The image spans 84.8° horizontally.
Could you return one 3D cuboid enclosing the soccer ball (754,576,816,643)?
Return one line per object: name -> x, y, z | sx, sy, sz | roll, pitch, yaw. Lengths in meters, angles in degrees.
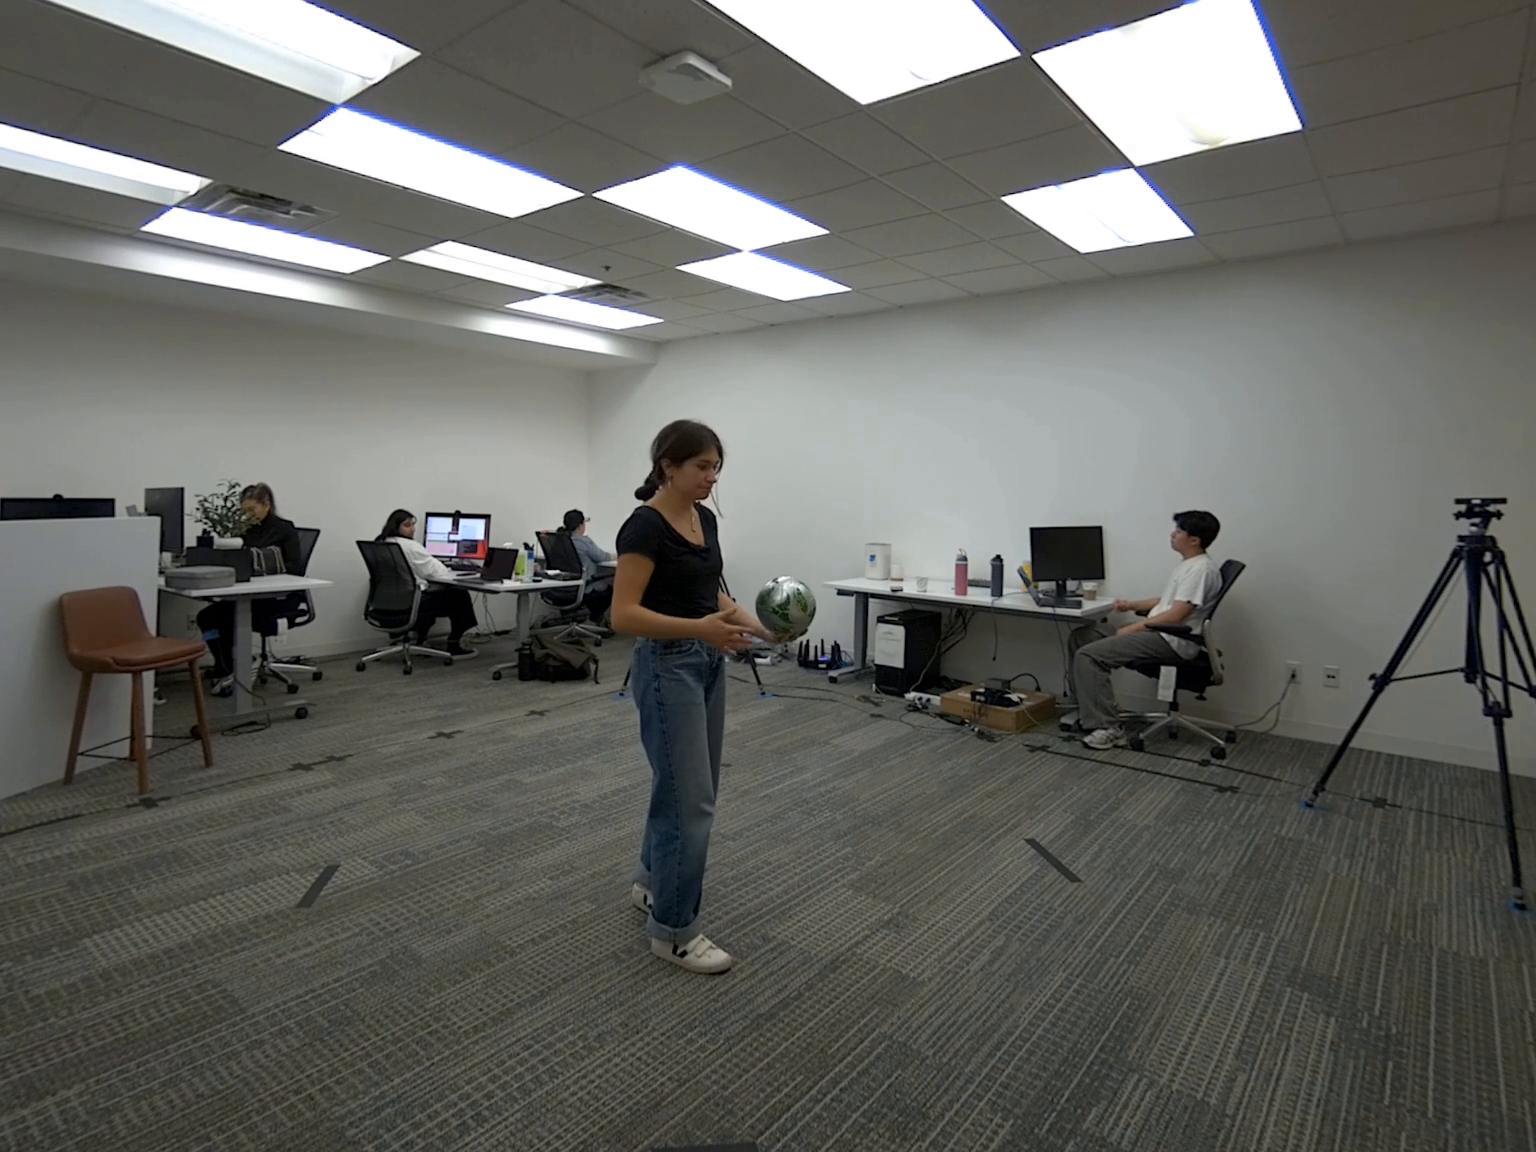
soccer ball -> 0.035, 0.089, 2.631 | 0.187, 0.187, 0.188 | 1, 4, -2
